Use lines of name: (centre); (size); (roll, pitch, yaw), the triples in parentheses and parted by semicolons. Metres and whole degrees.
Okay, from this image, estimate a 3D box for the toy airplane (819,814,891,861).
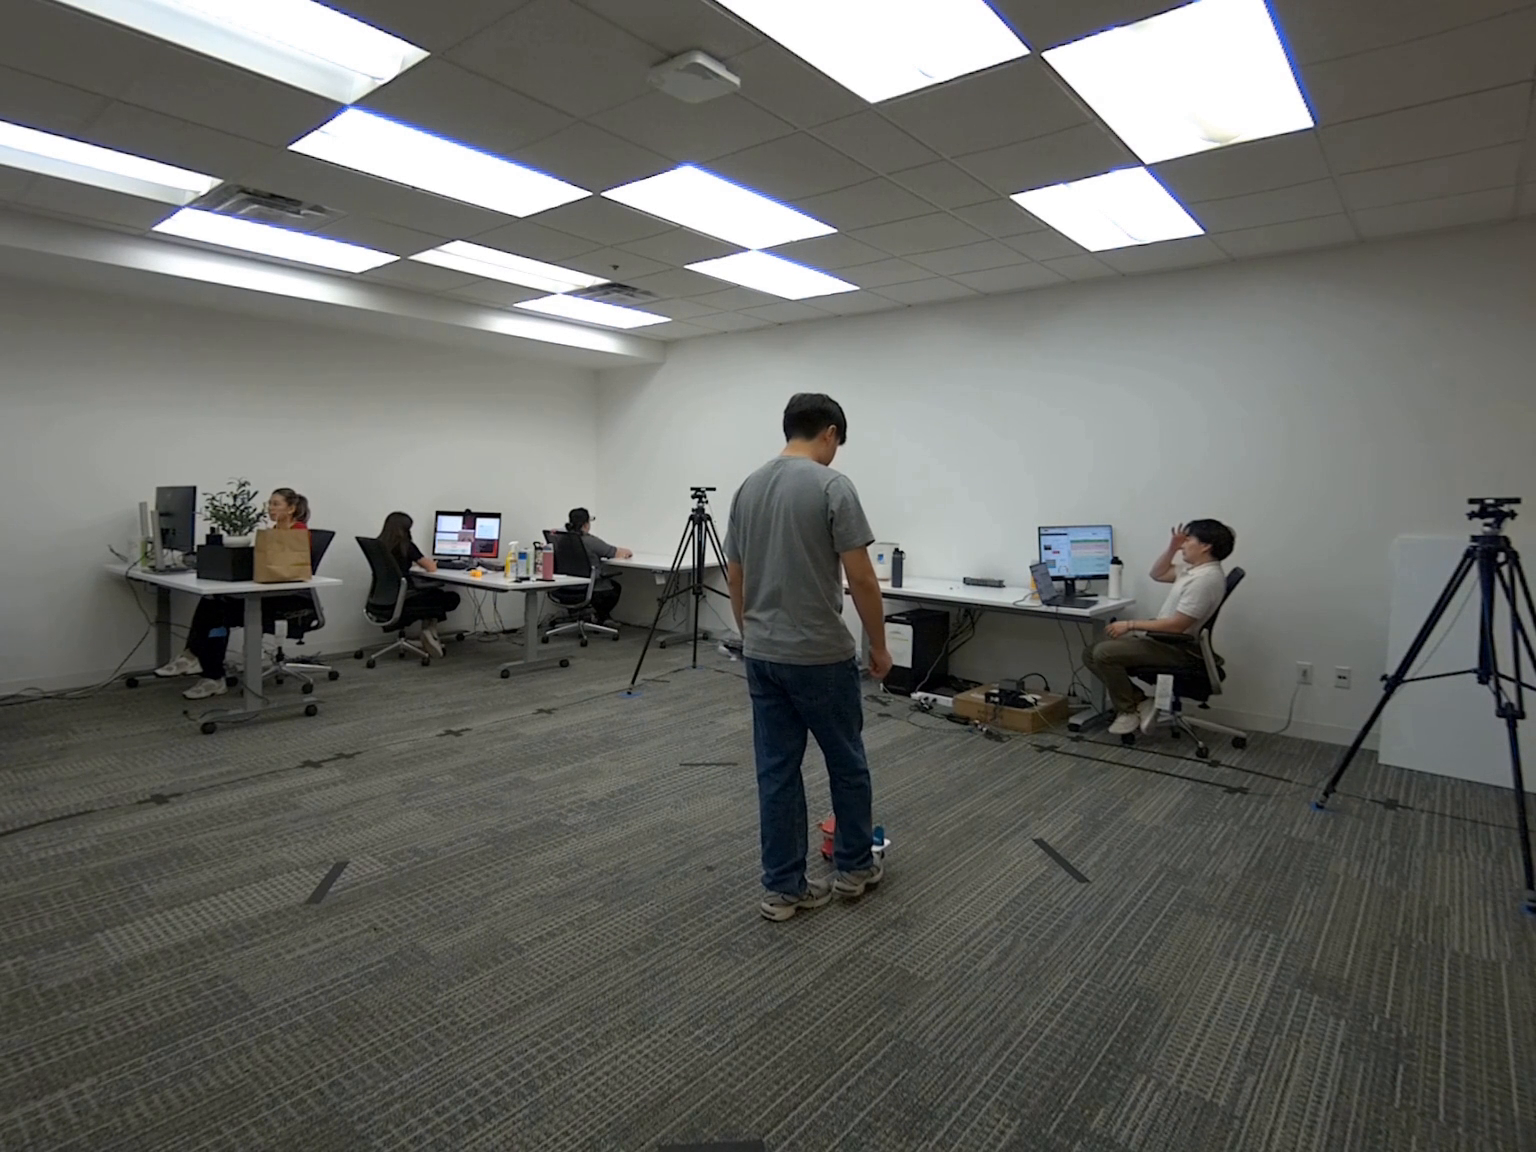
toy airplane: (0.319, 0.977, 3.194); (0.261, 0.157, 0.248); (-9, -2, 6)
